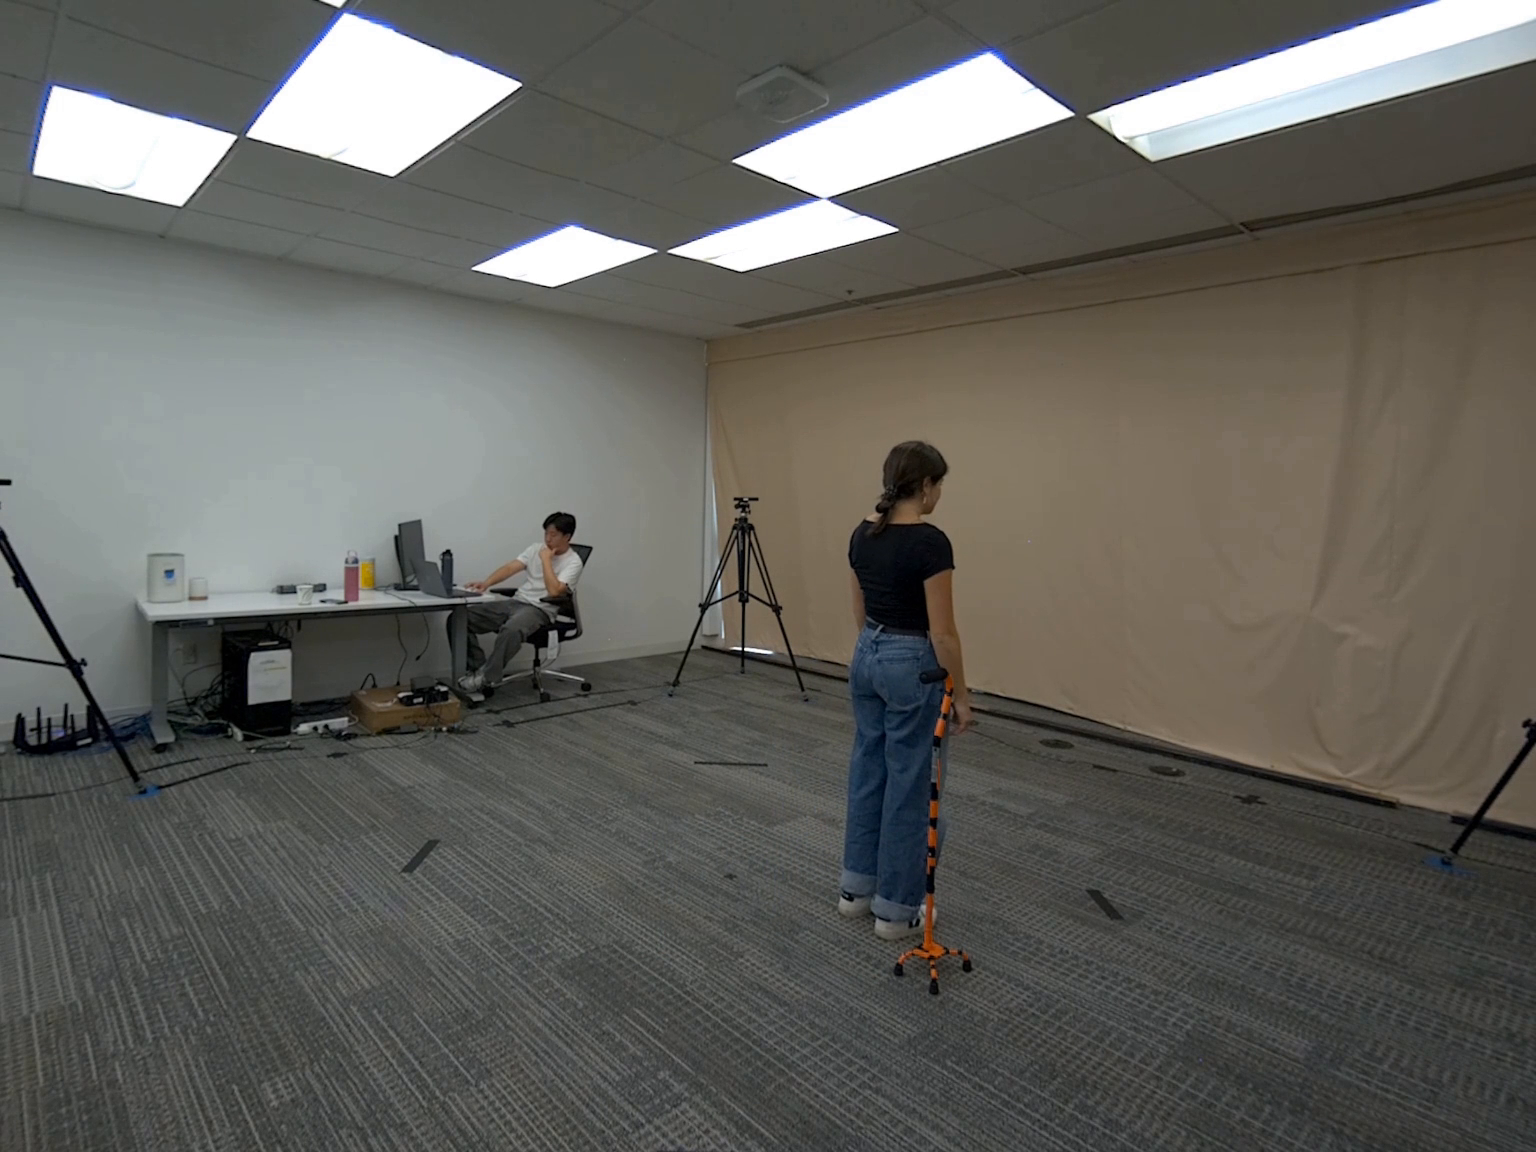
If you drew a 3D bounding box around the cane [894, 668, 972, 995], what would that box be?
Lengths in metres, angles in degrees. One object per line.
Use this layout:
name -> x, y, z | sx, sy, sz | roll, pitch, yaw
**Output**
cane -> 0.493, 0.734, 2.469 | 0.155, 0.906, 0.202 | 4, 4, 44
